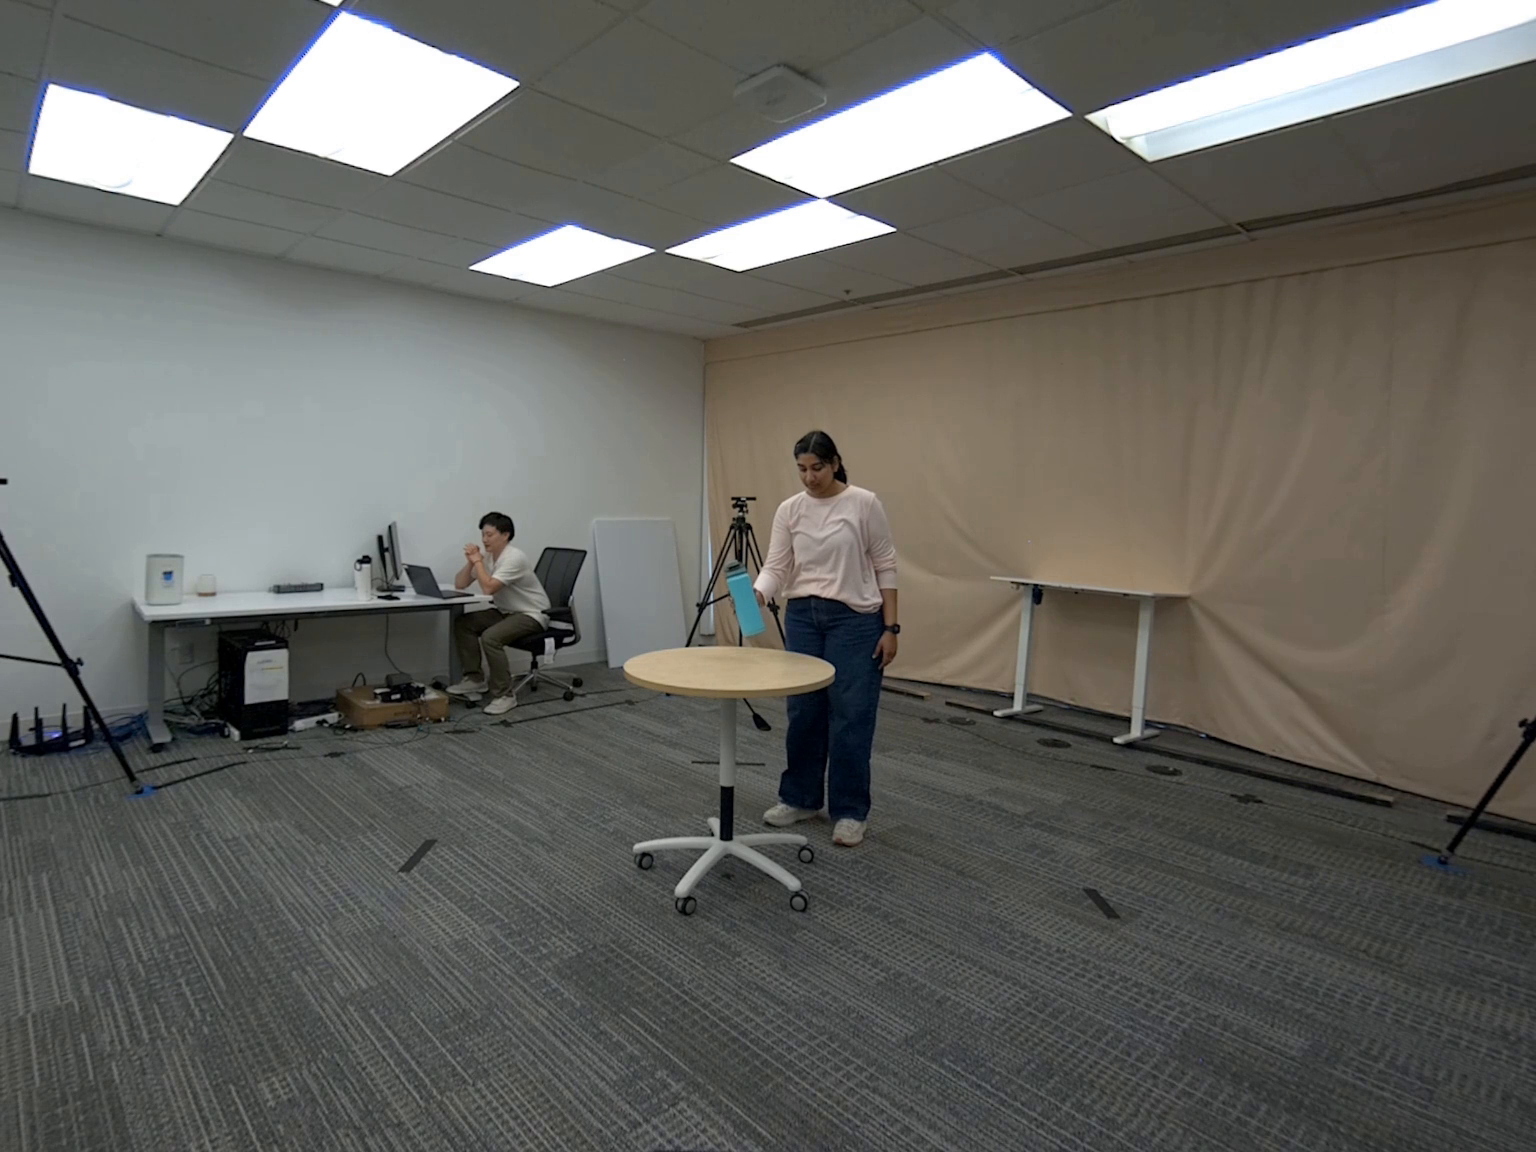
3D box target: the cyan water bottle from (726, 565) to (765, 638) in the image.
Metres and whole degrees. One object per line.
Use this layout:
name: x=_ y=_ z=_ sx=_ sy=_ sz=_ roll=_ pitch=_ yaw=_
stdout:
cyan water bottle: x=-0.100 y=0.083 z=3.182 sx=0.092 sy=0.284 sz=0.092 roll=-14 pitch=-3 yaw=-2
